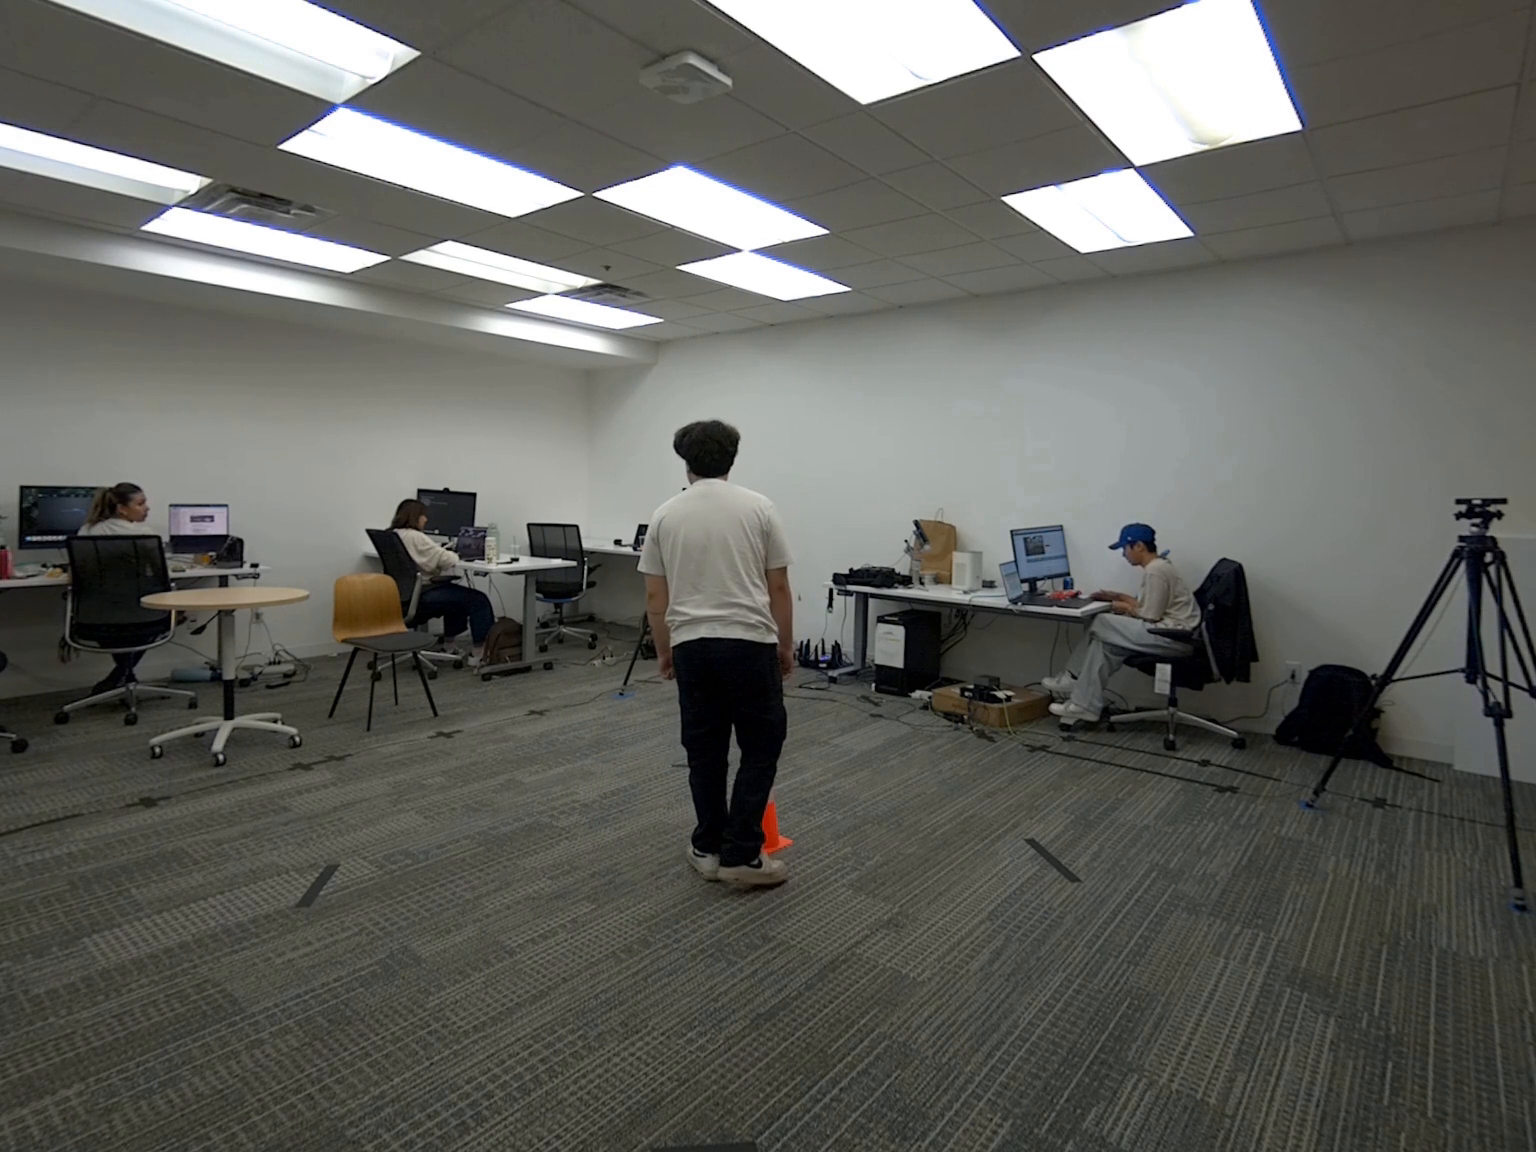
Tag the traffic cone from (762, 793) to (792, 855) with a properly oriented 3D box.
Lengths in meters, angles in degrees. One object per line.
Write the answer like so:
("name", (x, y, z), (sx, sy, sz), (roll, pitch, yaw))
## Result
("traffic cone", (-0.039, 0.855, 3.355), (0.210, 0.383, 0.199), (3, 4, 40))
